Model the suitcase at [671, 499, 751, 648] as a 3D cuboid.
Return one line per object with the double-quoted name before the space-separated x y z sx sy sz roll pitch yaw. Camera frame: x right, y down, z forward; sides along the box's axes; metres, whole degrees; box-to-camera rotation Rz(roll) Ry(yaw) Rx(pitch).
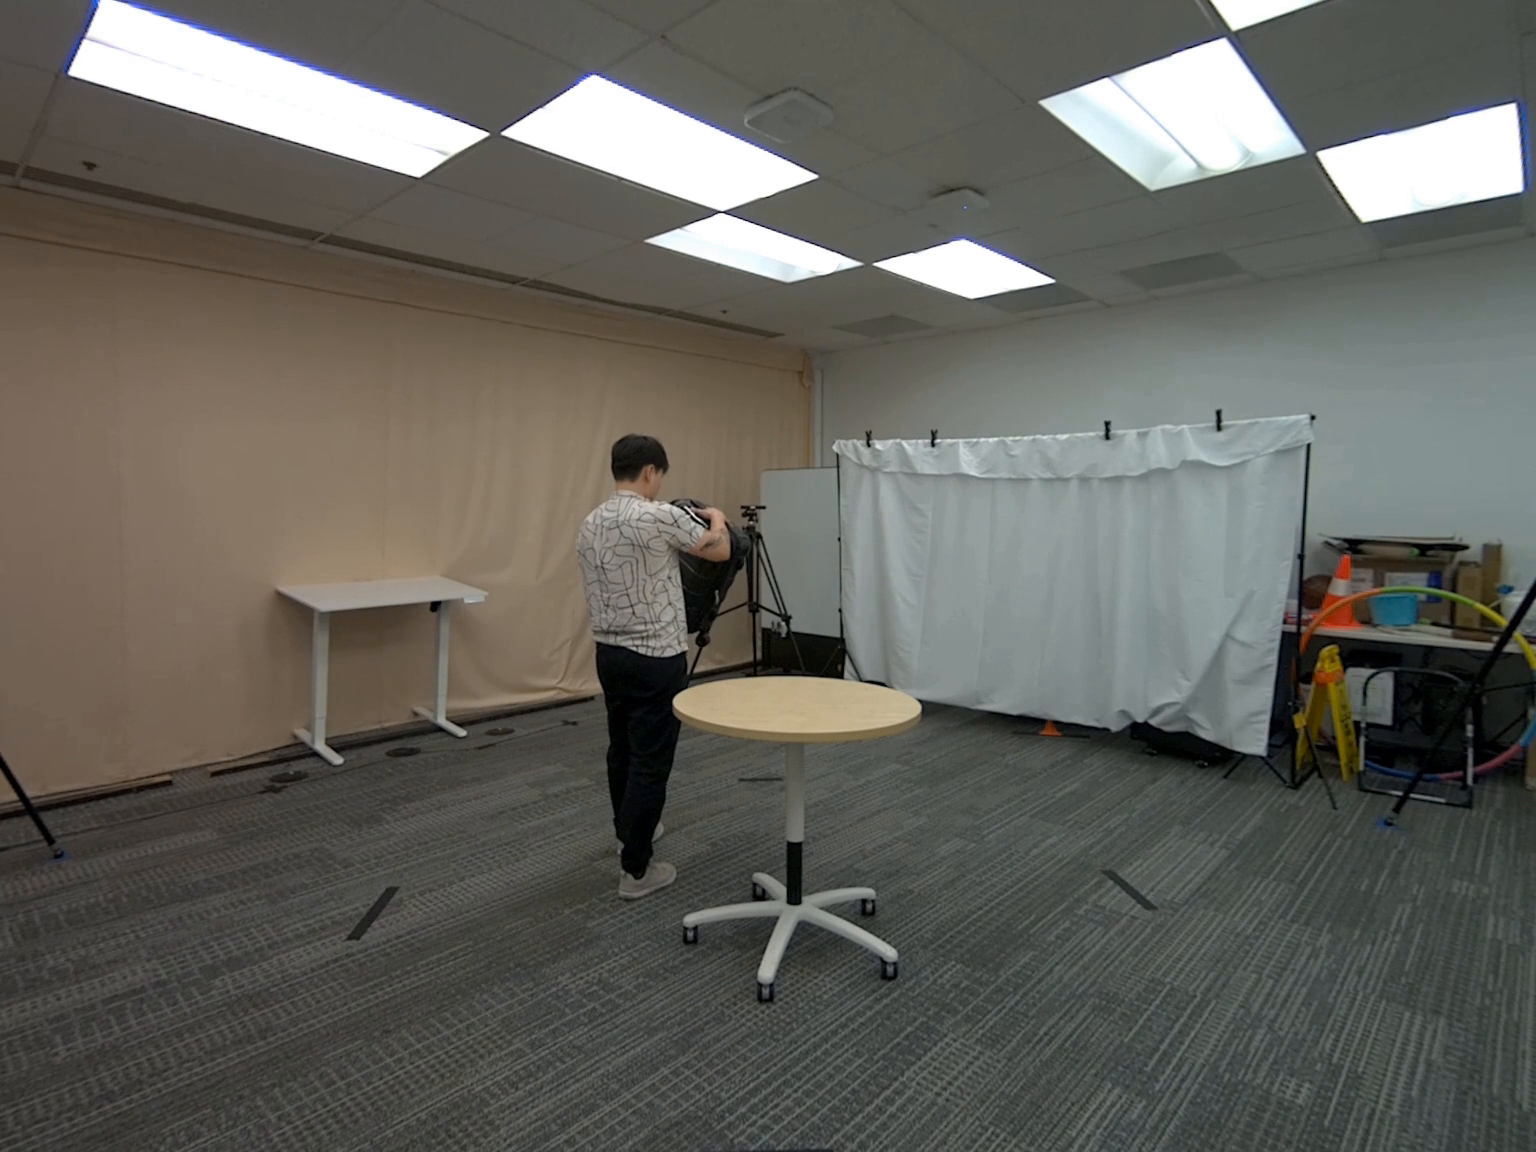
"suitcase" -0.336 -0.031 3.544 0.388 0.548 0.240 39 21 32
